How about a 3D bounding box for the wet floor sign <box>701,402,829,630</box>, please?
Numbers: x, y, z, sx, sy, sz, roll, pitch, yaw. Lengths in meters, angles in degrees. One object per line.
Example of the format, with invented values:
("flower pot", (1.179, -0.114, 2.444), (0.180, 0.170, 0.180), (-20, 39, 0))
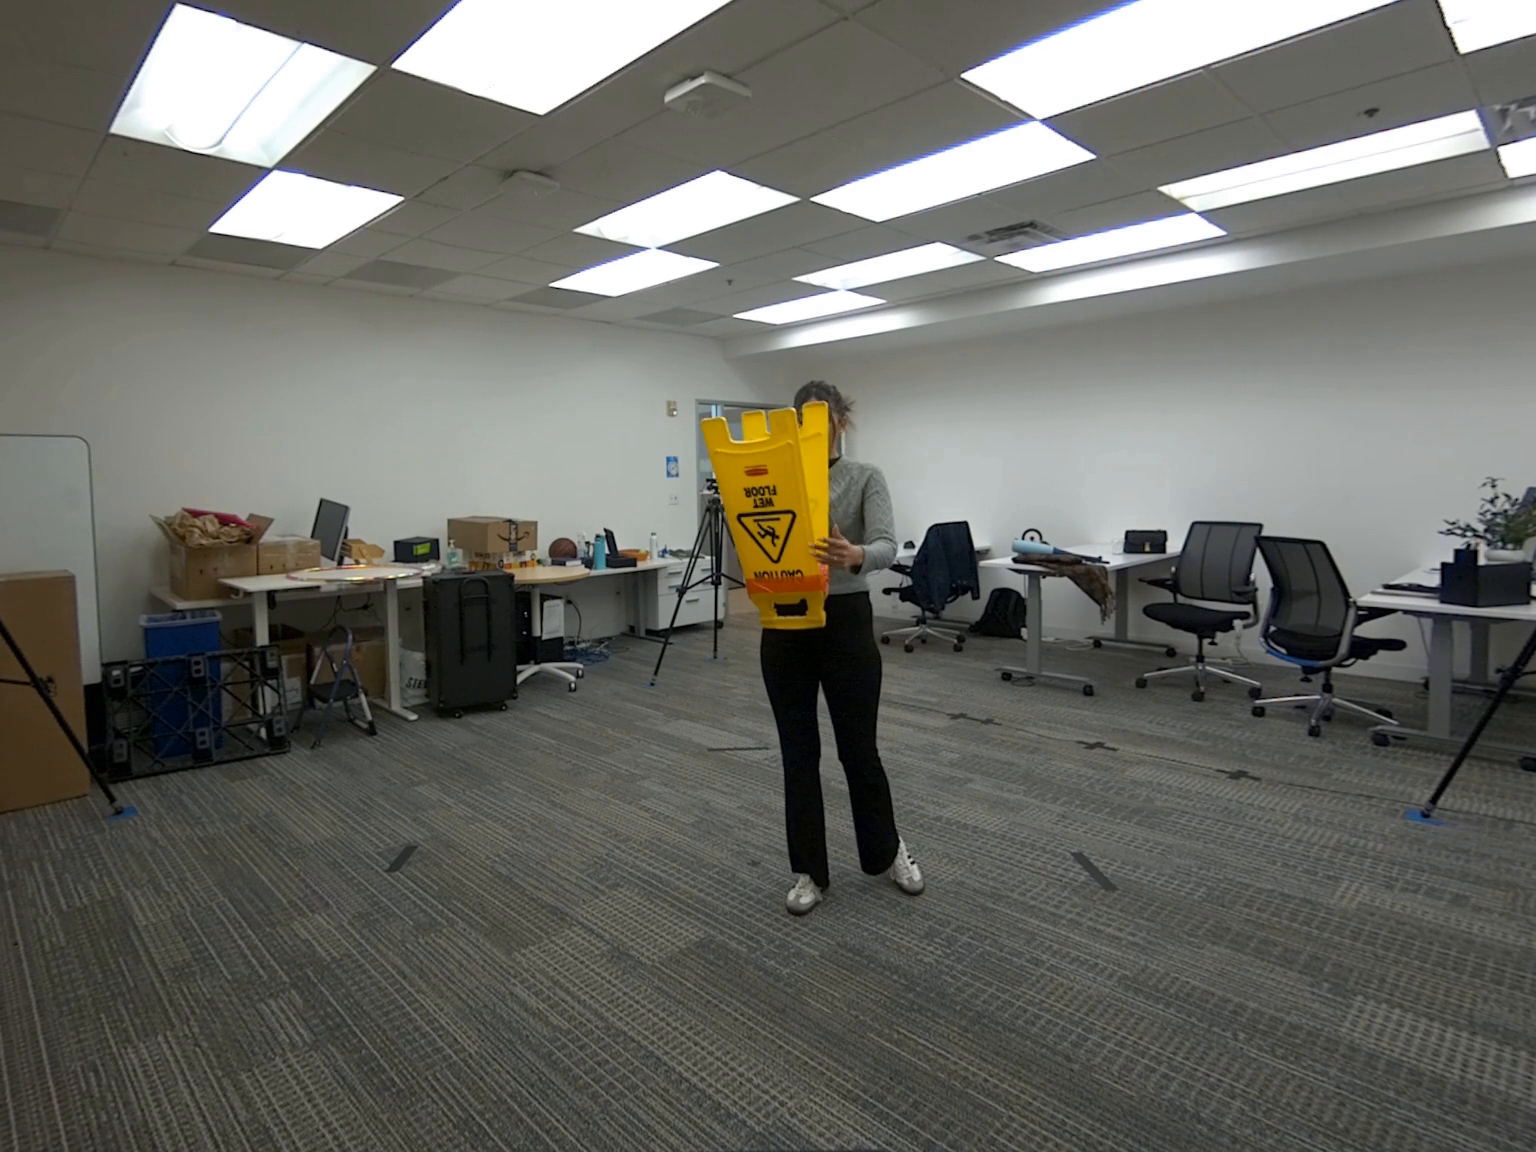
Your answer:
("wet floor sign", (0.039, -0.157, 2.476), (0.288, 0.640, 0.286), (-4, 10, 24))
